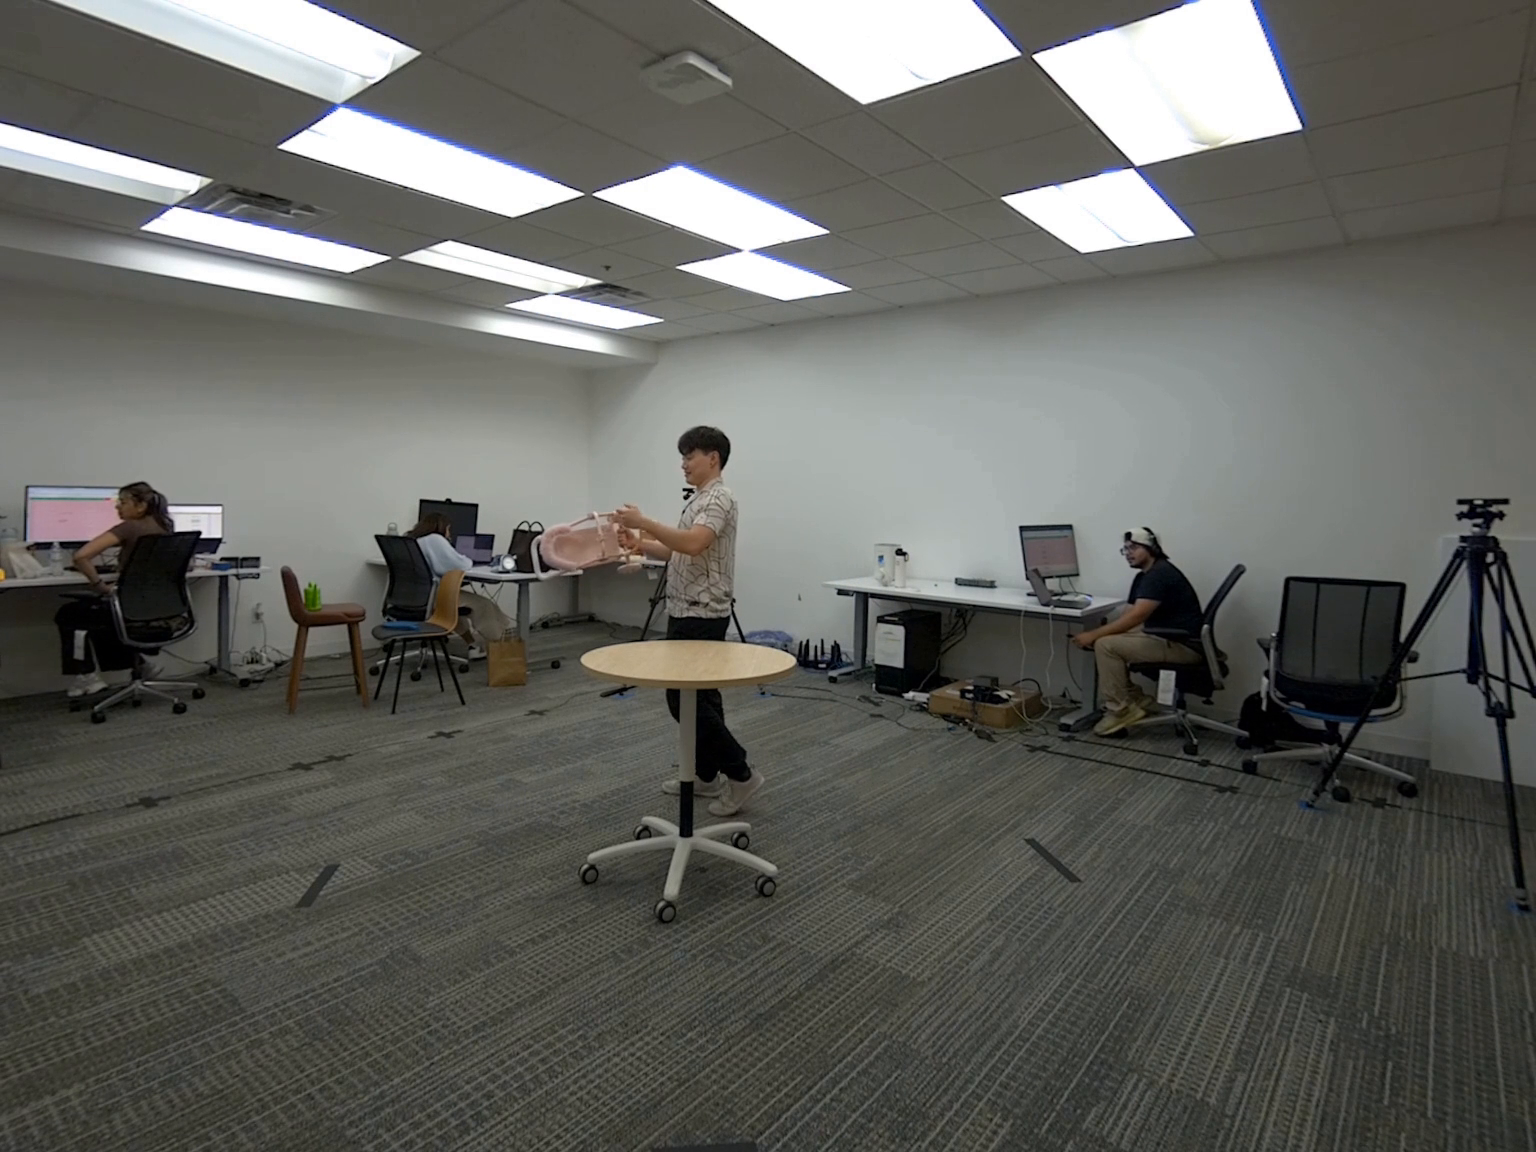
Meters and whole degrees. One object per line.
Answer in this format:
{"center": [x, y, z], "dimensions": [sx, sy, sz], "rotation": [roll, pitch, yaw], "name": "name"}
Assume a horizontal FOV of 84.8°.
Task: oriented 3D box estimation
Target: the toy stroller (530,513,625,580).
{"center": [-0.770, -0.148, 3.700], "dimensions": [0.527, 0.285, 0.342], "rotation": [-11, -8, -17], "name": "toy stroller"}
